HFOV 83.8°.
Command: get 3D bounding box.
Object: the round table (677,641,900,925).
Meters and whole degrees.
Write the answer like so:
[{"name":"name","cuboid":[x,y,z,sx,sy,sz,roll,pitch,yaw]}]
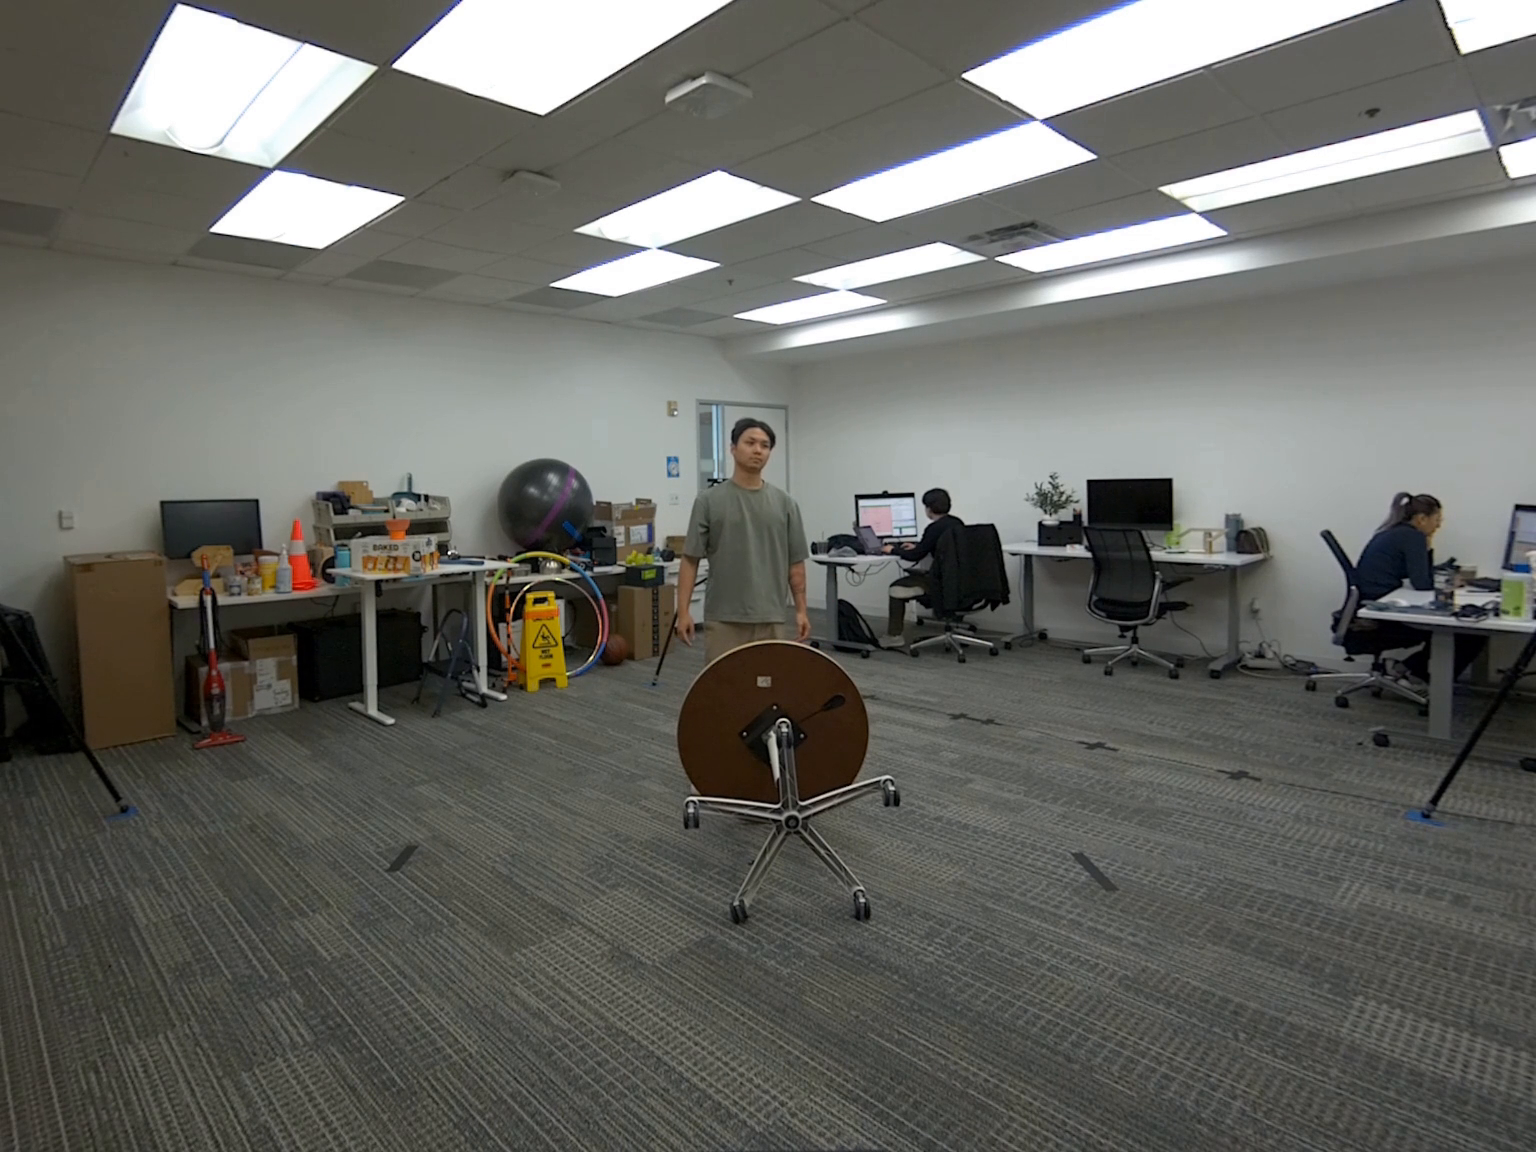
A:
[{"name":"round table","cuboid":[0.059,0.712,3.022,0.782,0.778,0.797,-1,11,-4]}]
